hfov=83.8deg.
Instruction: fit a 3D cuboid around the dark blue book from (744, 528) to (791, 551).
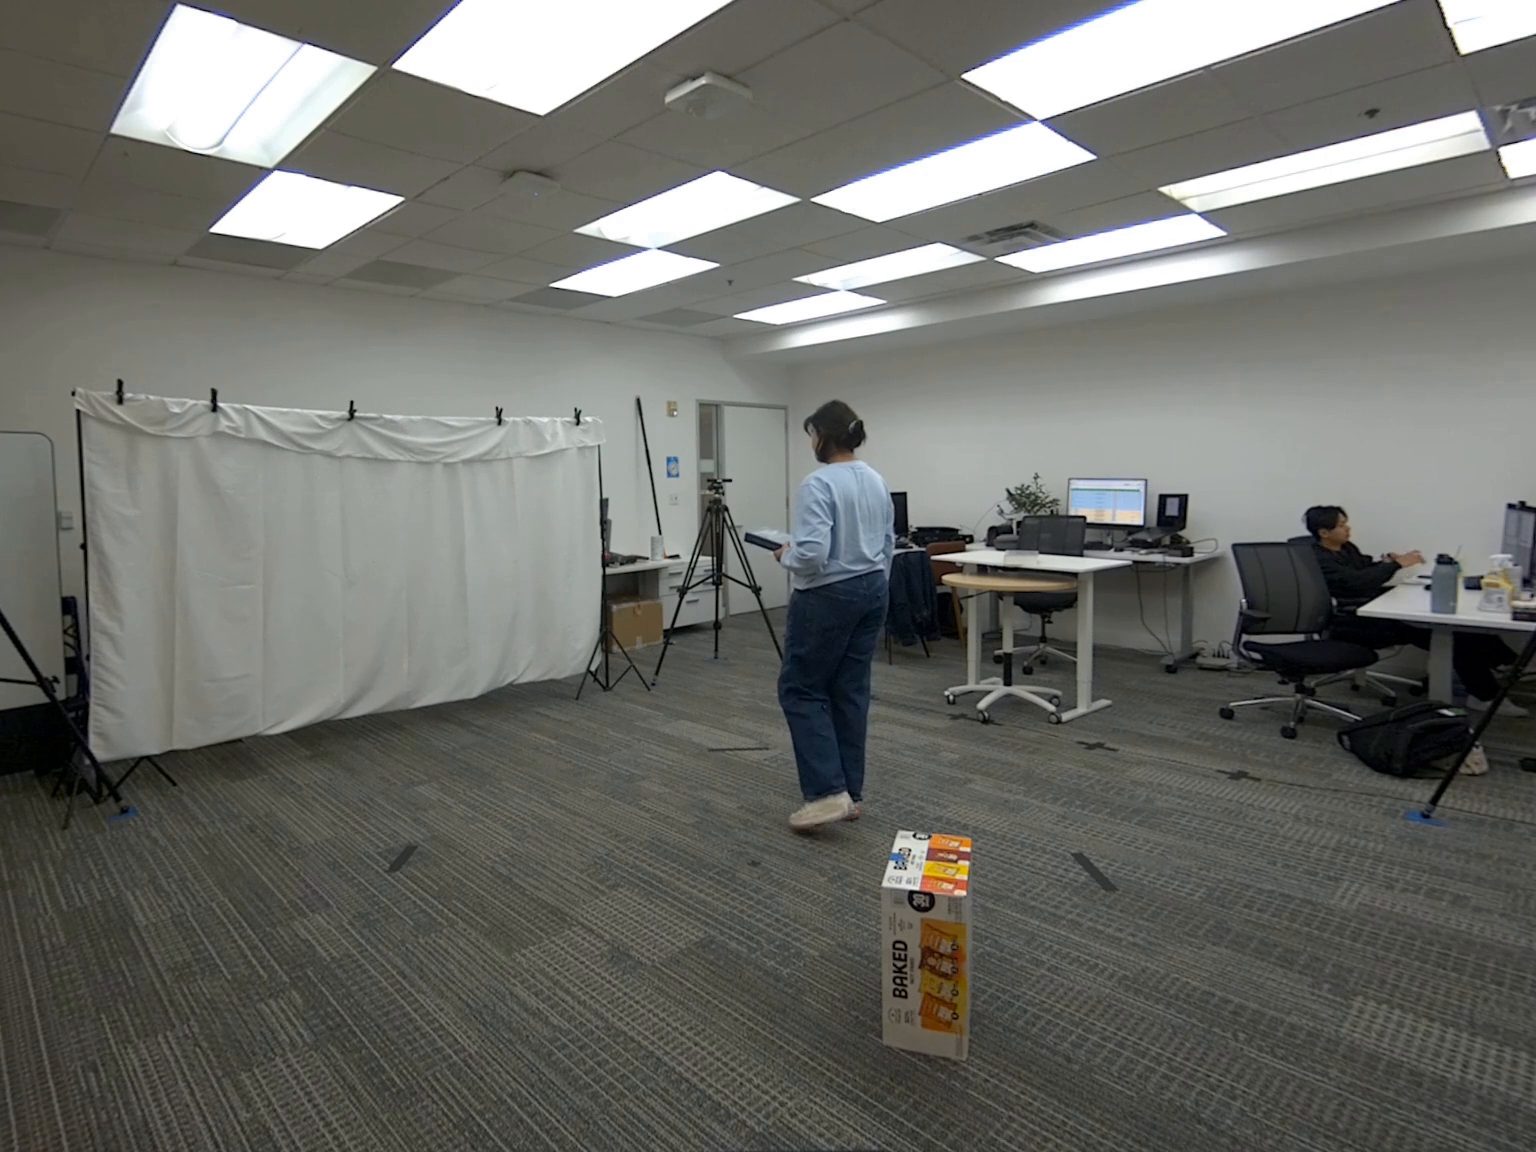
[{"bbox_3d":[0.042,-0.152,3.684,0.253,0.044,0.160,17,19,31],"label":"dark blue book"}]
